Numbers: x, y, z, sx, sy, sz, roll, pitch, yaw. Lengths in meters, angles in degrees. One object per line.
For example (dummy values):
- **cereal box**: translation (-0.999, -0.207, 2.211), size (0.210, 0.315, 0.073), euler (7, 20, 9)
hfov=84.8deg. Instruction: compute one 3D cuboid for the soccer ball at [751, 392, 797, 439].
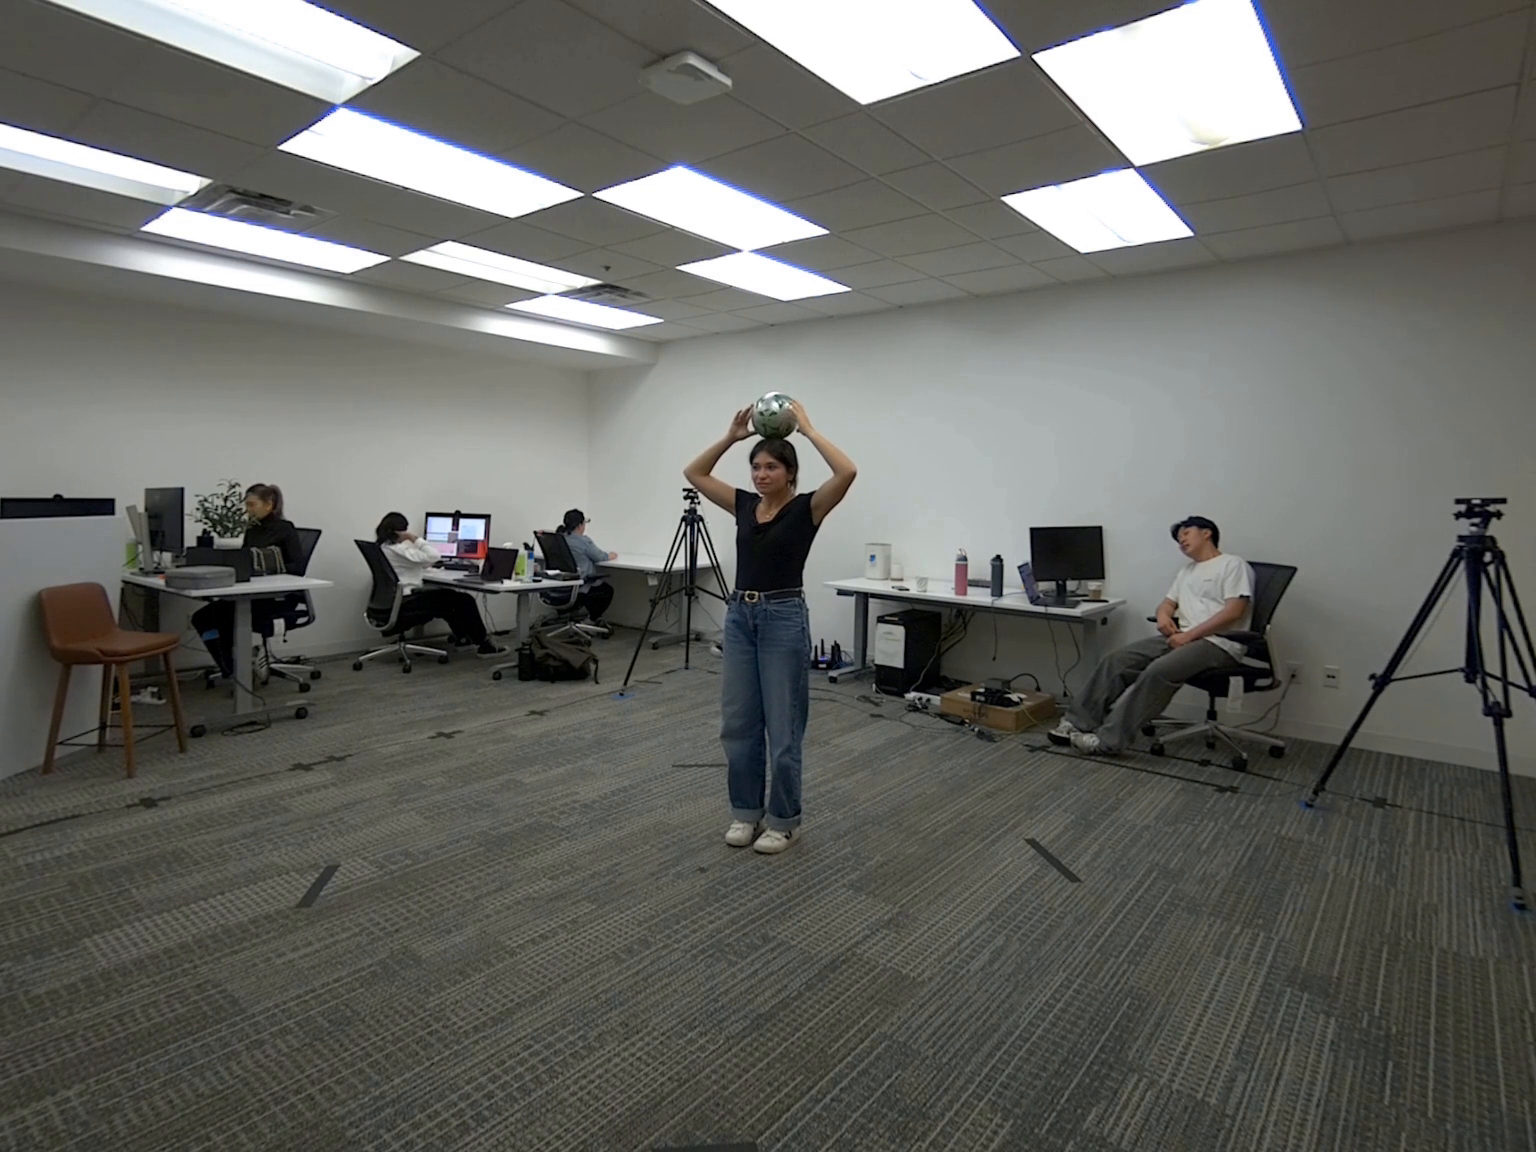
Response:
- **soccer ball**: translation (0.025, -0.631, 3.336), size (0.187, 0.187, 0.188), euler (1, 4, -2)
